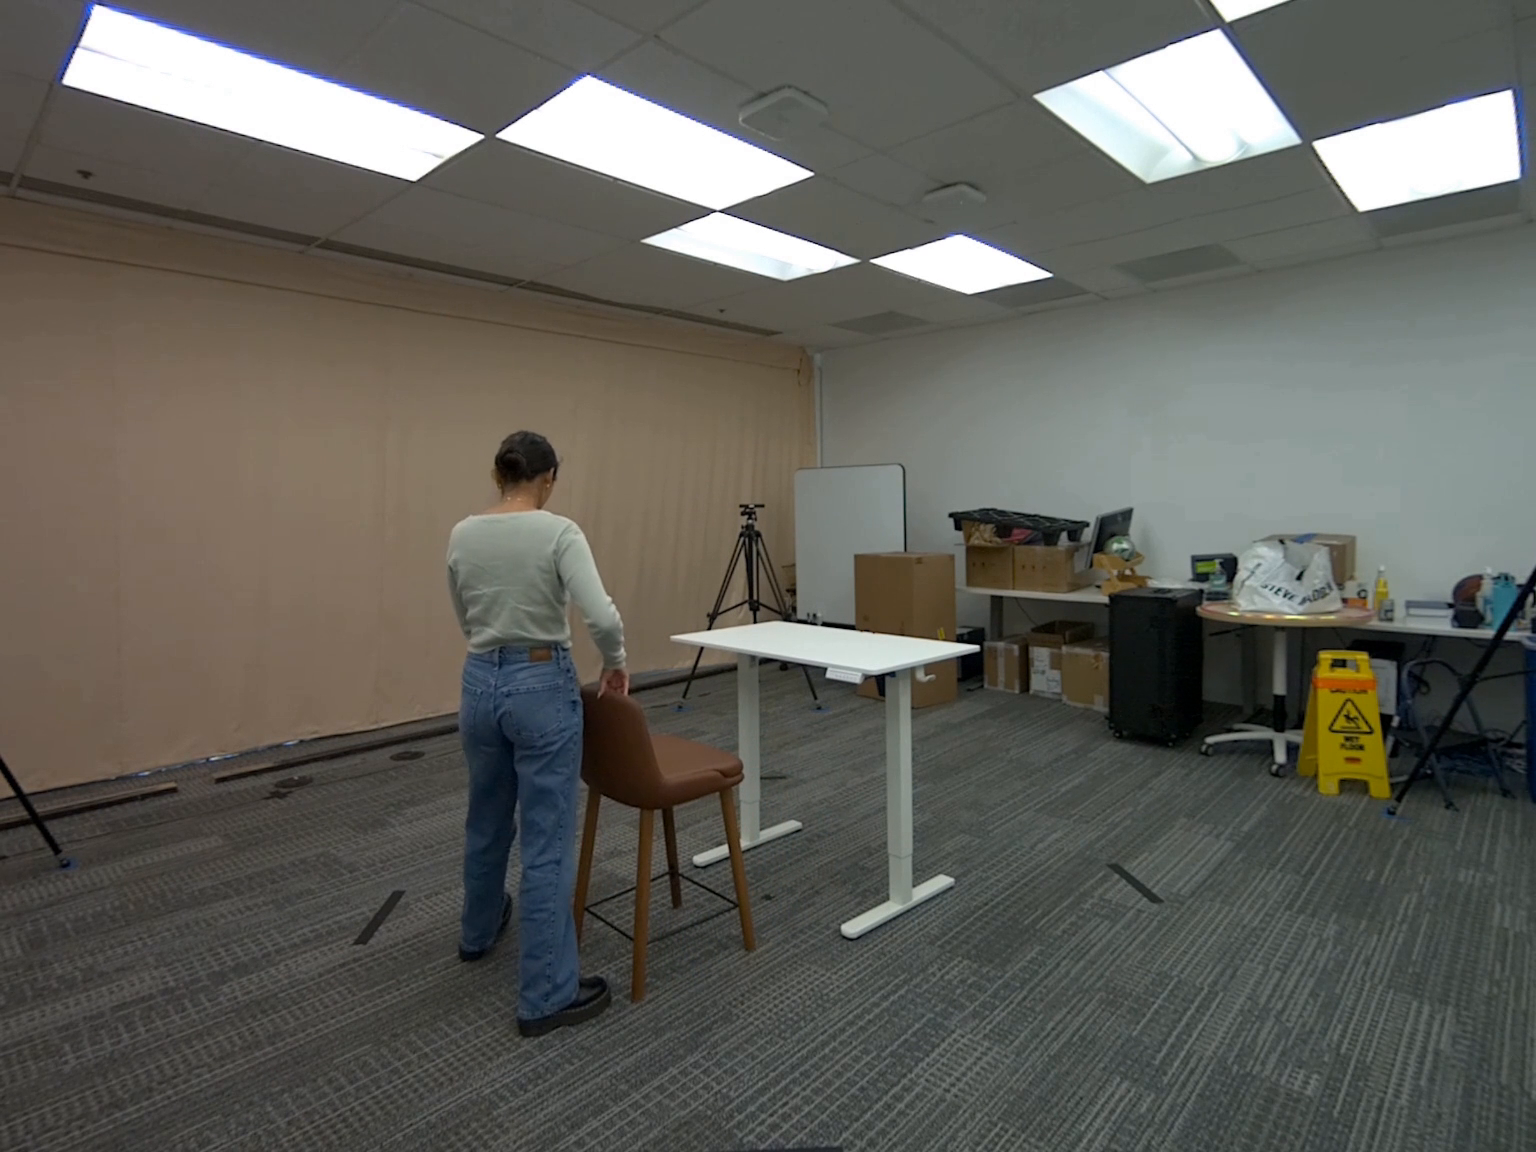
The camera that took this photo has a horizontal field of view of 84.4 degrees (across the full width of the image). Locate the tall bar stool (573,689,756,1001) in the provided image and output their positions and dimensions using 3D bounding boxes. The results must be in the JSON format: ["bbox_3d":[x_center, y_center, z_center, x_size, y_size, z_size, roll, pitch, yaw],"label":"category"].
[{"bbox_3d":[-0.355,0.737,2.619,0.454,0.887,0.471,-6,6,-41],"label":"tall bar stool"}]
